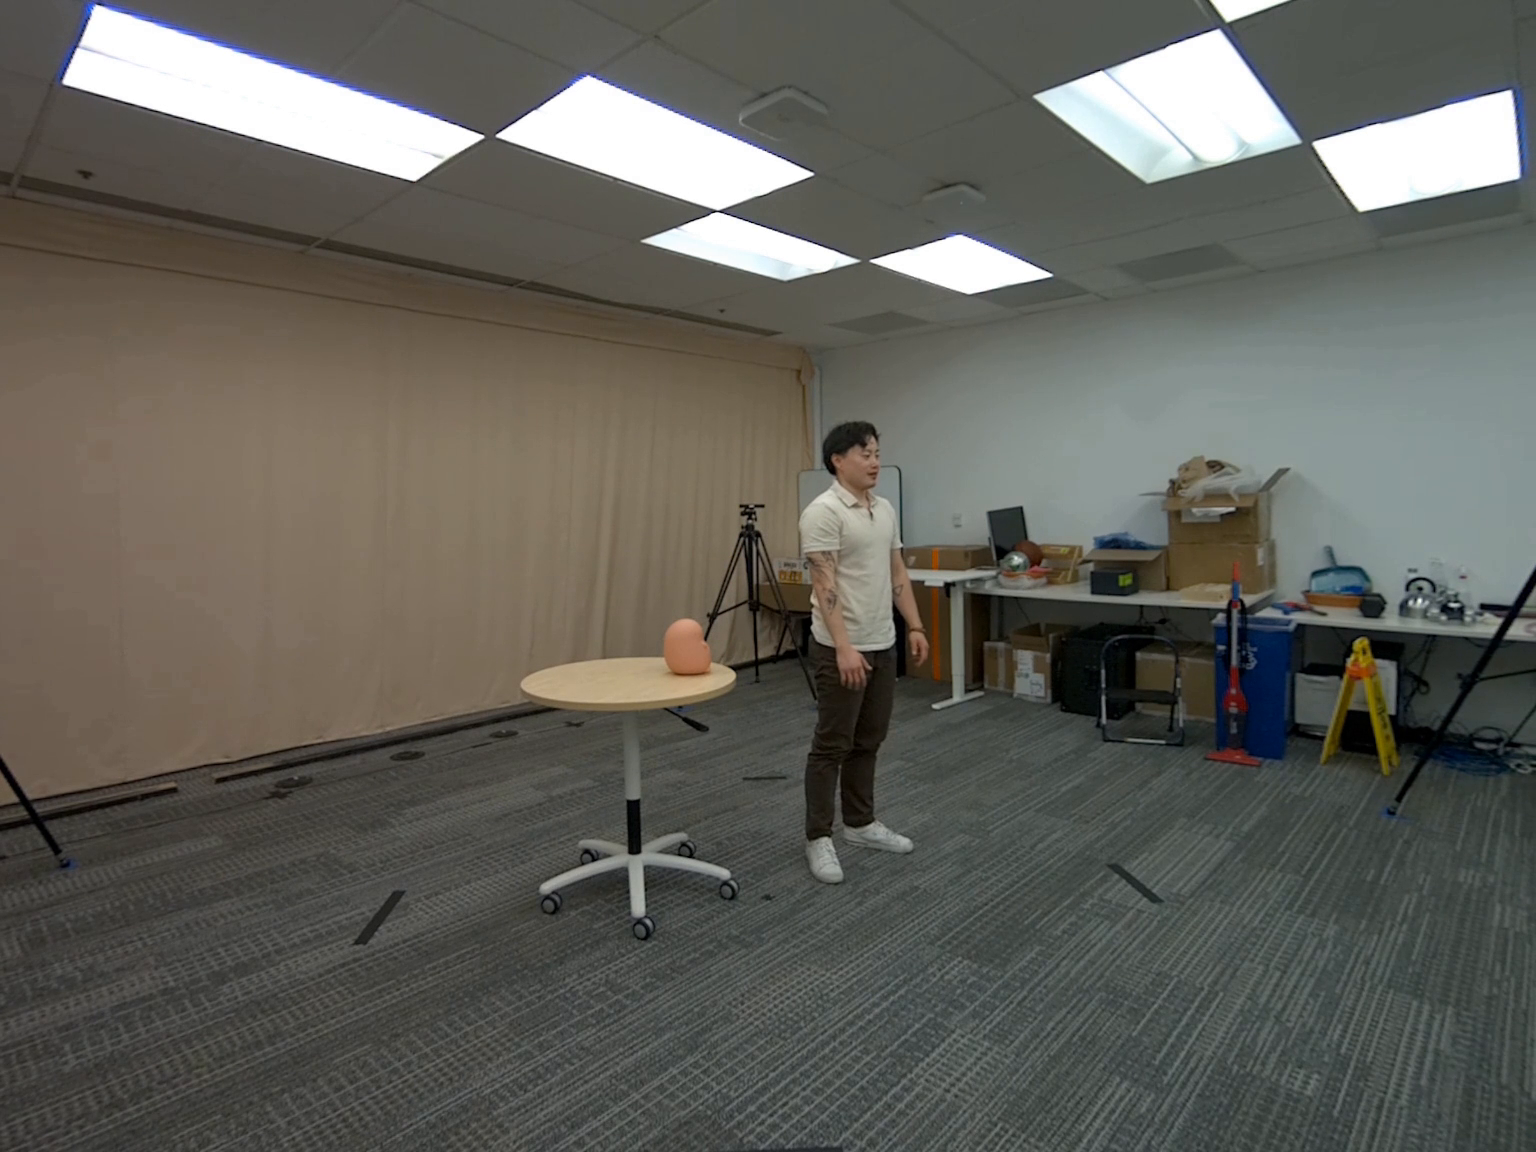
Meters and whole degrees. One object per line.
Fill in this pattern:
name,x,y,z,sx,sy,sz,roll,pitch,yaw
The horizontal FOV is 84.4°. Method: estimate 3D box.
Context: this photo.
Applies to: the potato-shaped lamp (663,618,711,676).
potato-shaped lamp,-0.296,0.258,3.075,0.169,0.197,0.167,-5,4,-13
